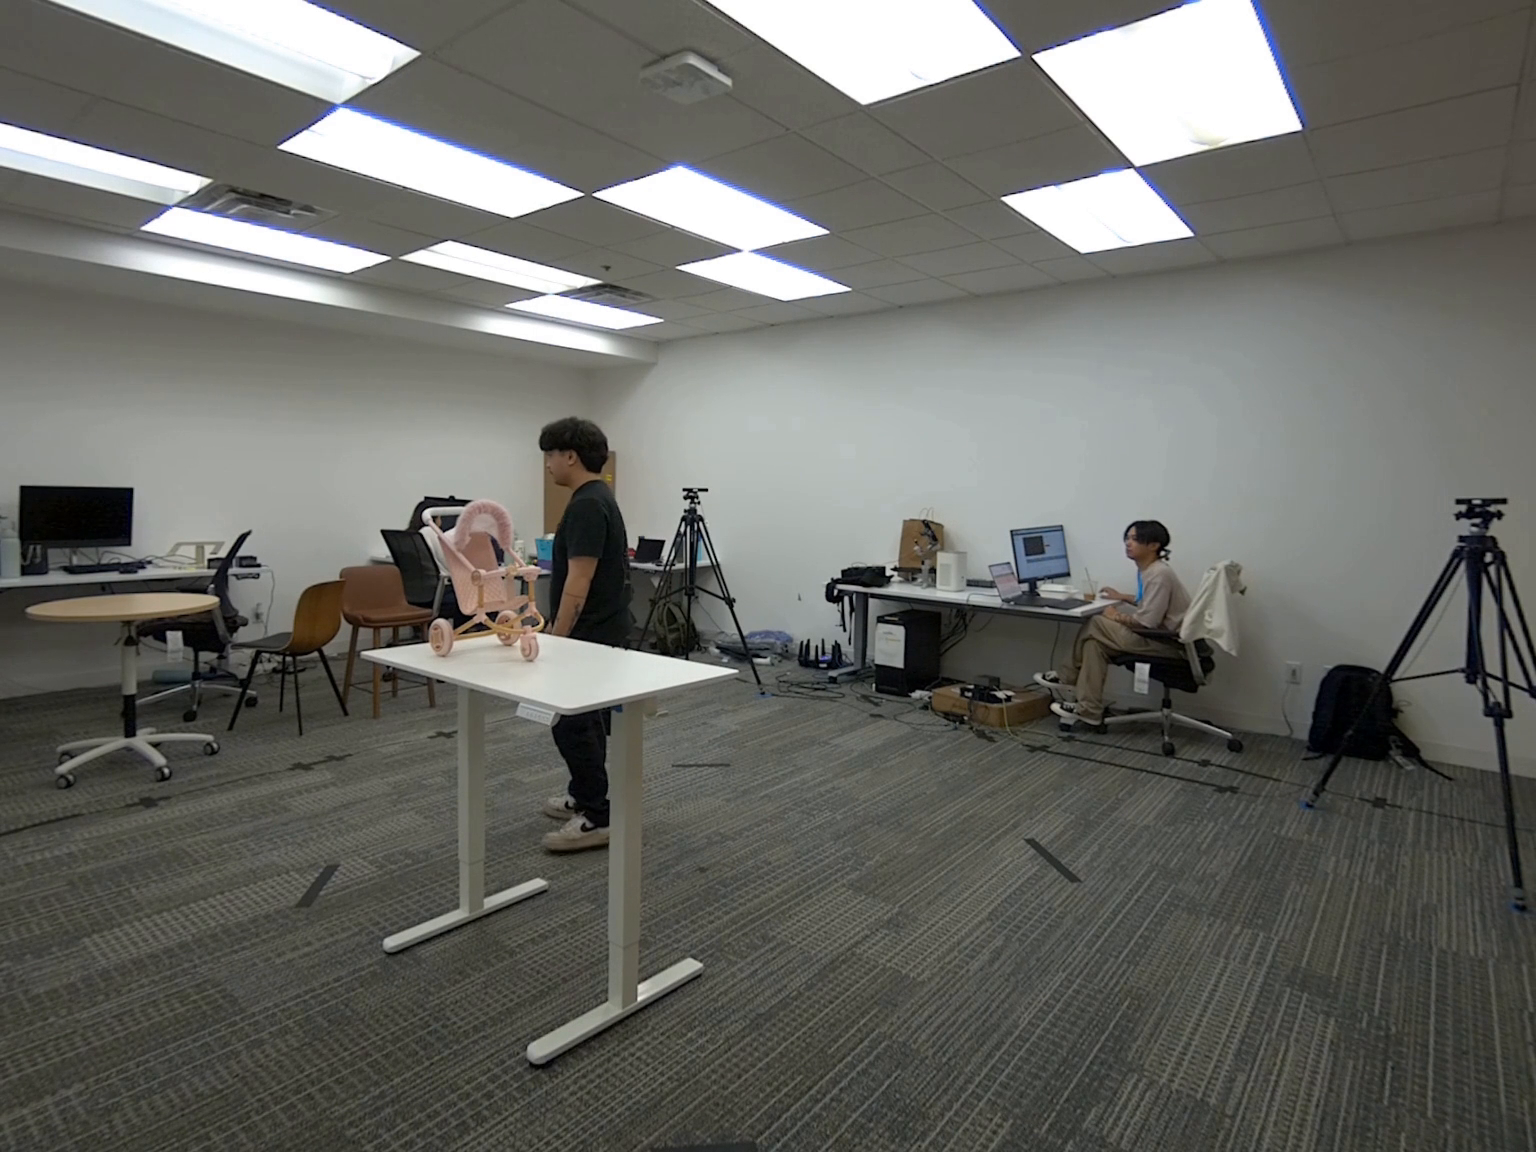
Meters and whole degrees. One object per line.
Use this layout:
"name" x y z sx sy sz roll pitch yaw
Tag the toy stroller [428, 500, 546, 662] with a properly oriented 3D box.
"toy stroller" -0.854 0.006 2.563 0.349 0.540 0.273 -16 -9 40
